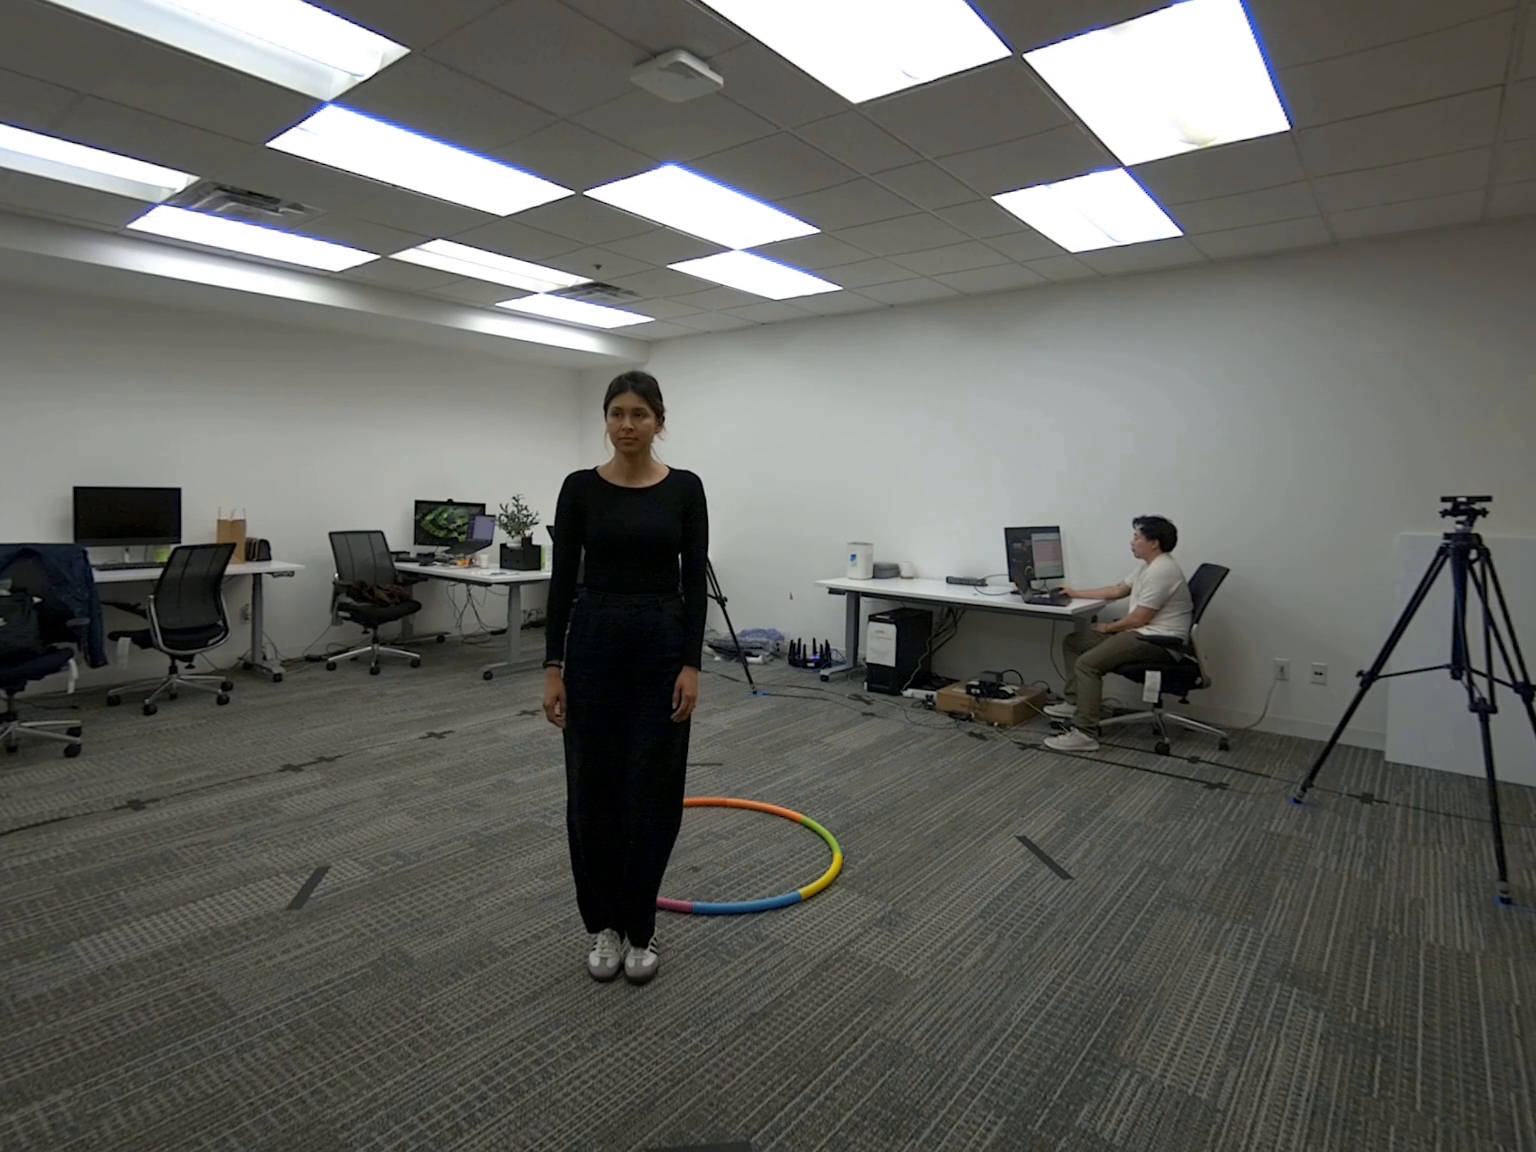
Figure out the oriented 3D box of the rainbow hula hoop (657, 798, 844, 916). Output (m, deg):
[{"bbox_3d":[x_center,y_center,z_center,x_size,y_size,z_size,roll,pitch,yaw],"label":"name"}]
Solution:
[{"bbox_3d":[-0.222,1.022,3.248,0.978,0.035,0.984,0,6,-2],"label":"rainbow hula hoop"}]
